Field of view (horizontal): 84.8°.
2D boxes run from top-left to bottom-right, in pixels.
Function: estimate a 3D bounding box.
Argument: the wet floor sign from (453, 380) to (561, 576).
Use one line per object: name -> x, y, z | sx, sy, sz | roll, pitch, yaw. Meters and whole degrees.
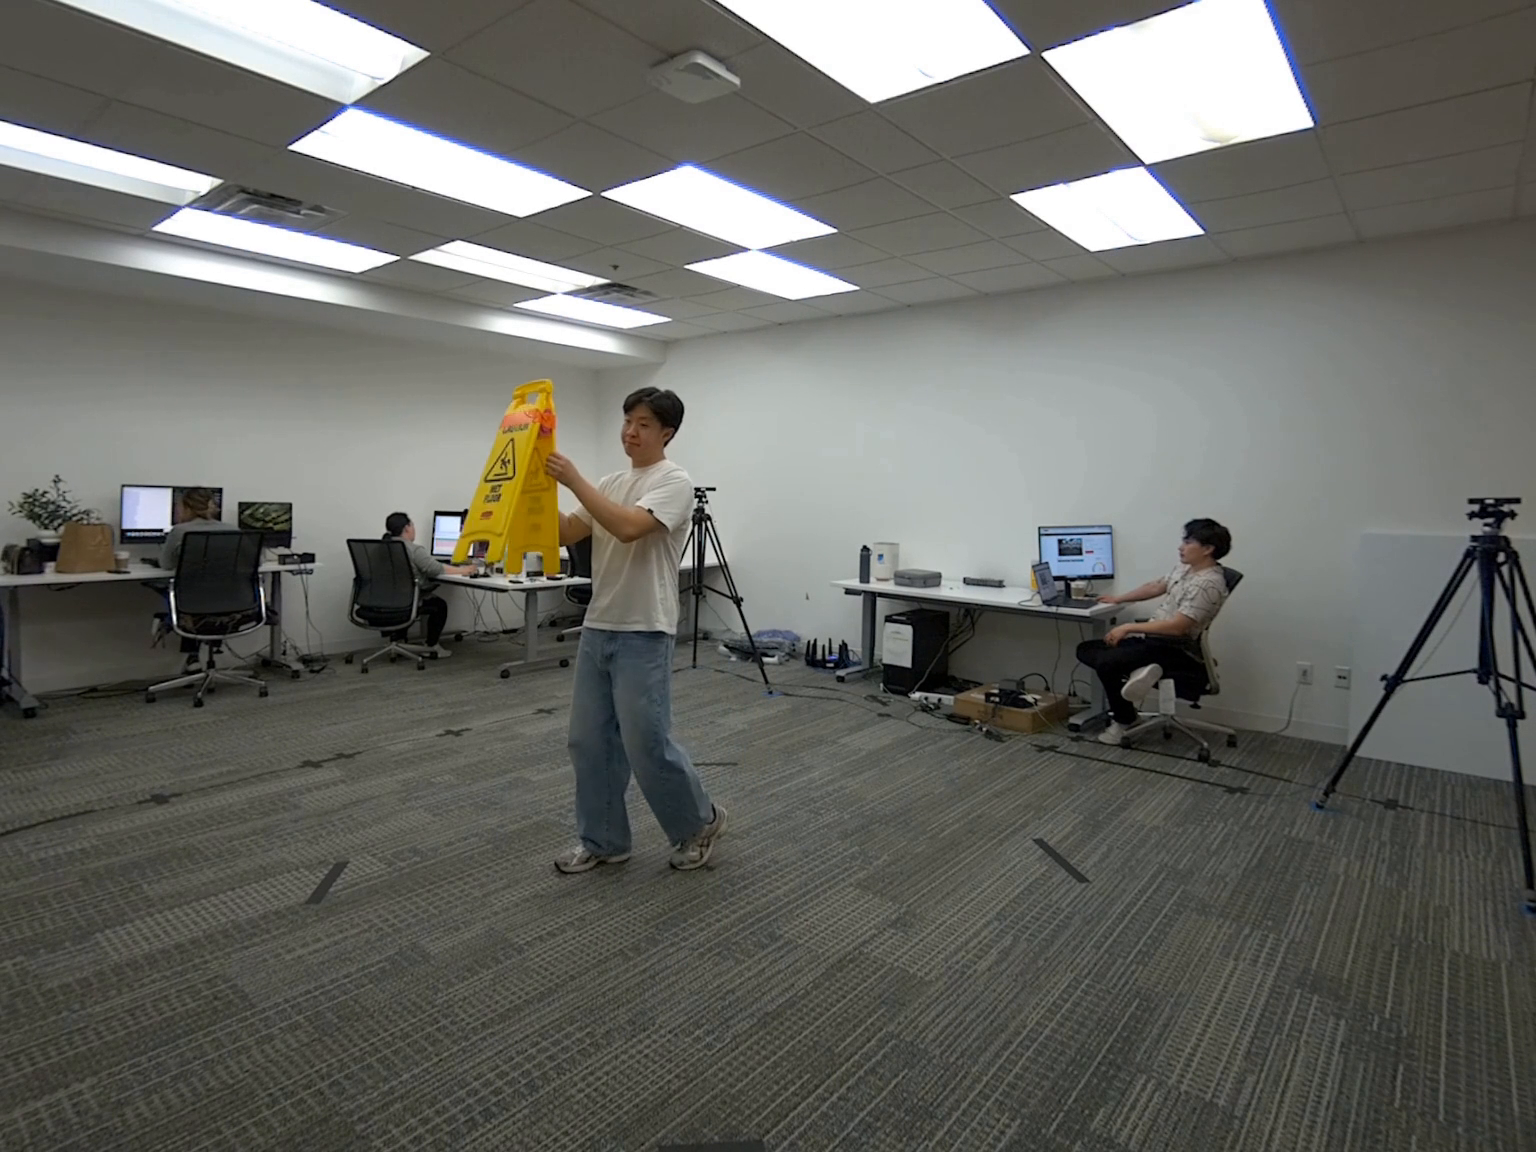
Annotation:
wet floor sign -> -0.850, -0.346, 2.895 | 0.291, 0.651, 0.279 | -2, -11, 40
